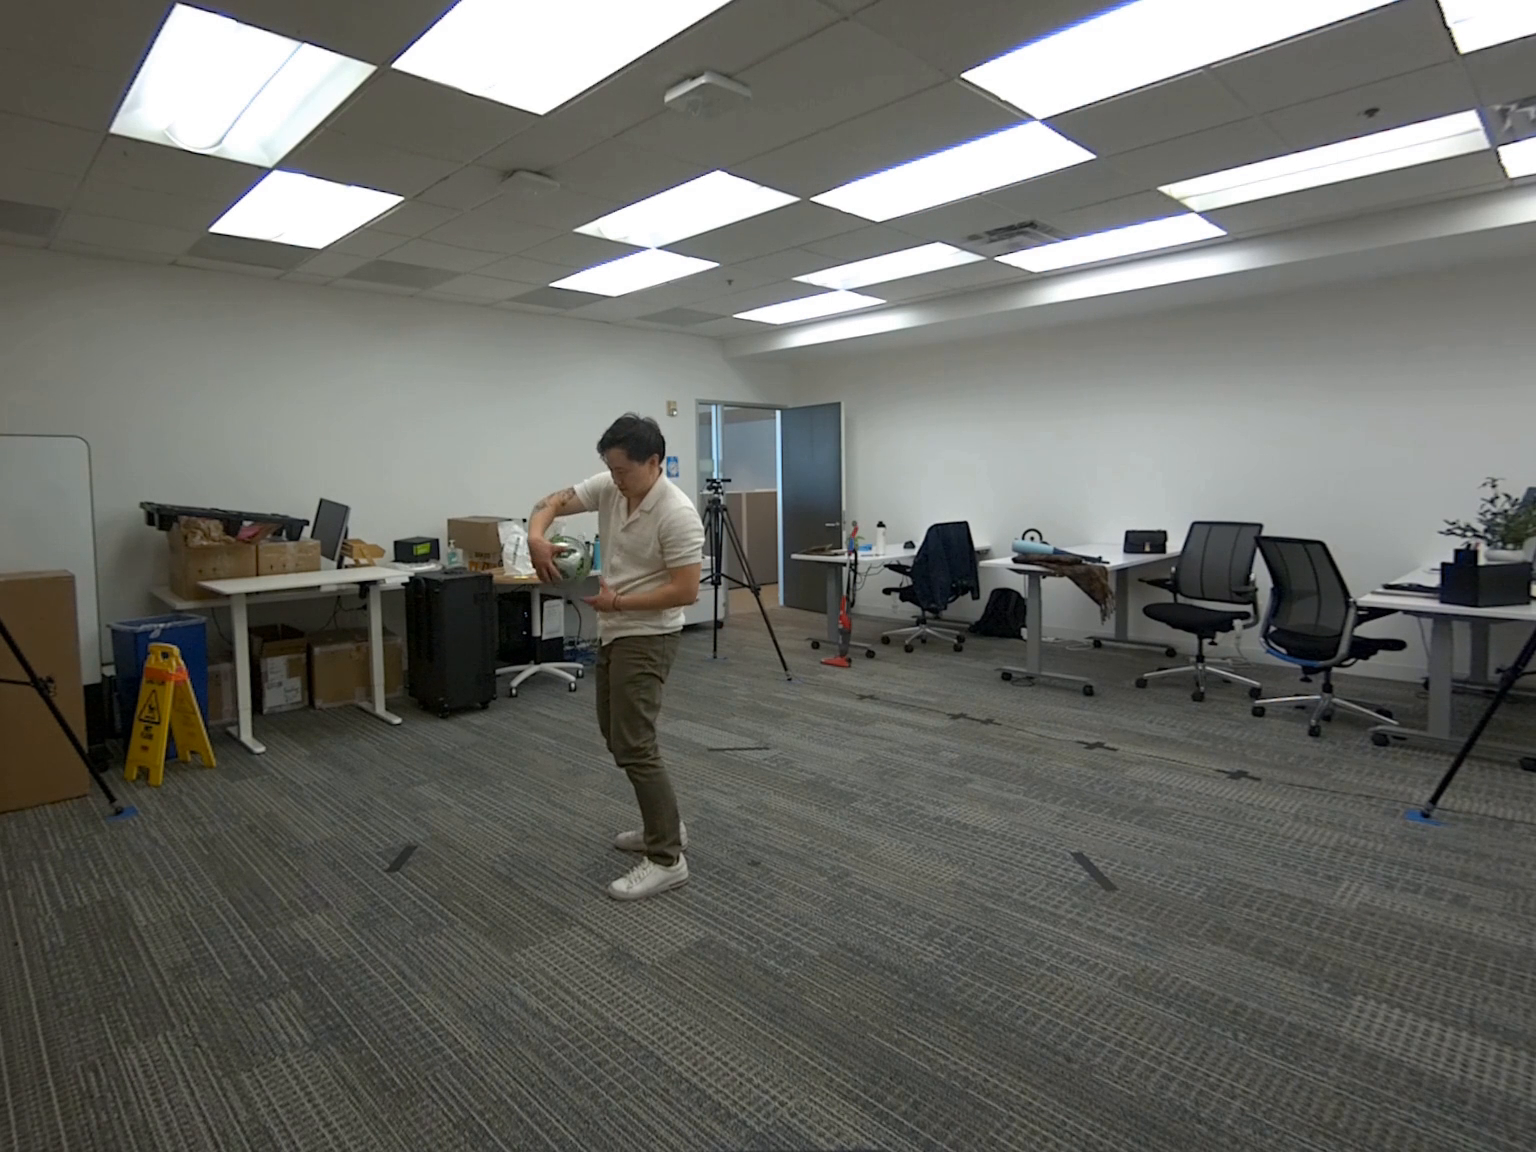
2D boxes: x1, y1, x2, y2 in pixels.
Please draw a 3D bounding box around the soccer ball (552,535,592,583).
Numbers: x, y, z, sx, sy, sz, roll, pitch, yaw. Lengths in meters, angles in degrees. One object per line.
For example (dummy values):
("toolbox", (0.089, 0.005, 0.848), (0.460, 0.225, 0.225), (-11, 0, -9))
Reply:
("soccer ball", (-0.702, -0.046, 2.982), (0.187, 0.187, 0.188), (-1, 5, -2))
